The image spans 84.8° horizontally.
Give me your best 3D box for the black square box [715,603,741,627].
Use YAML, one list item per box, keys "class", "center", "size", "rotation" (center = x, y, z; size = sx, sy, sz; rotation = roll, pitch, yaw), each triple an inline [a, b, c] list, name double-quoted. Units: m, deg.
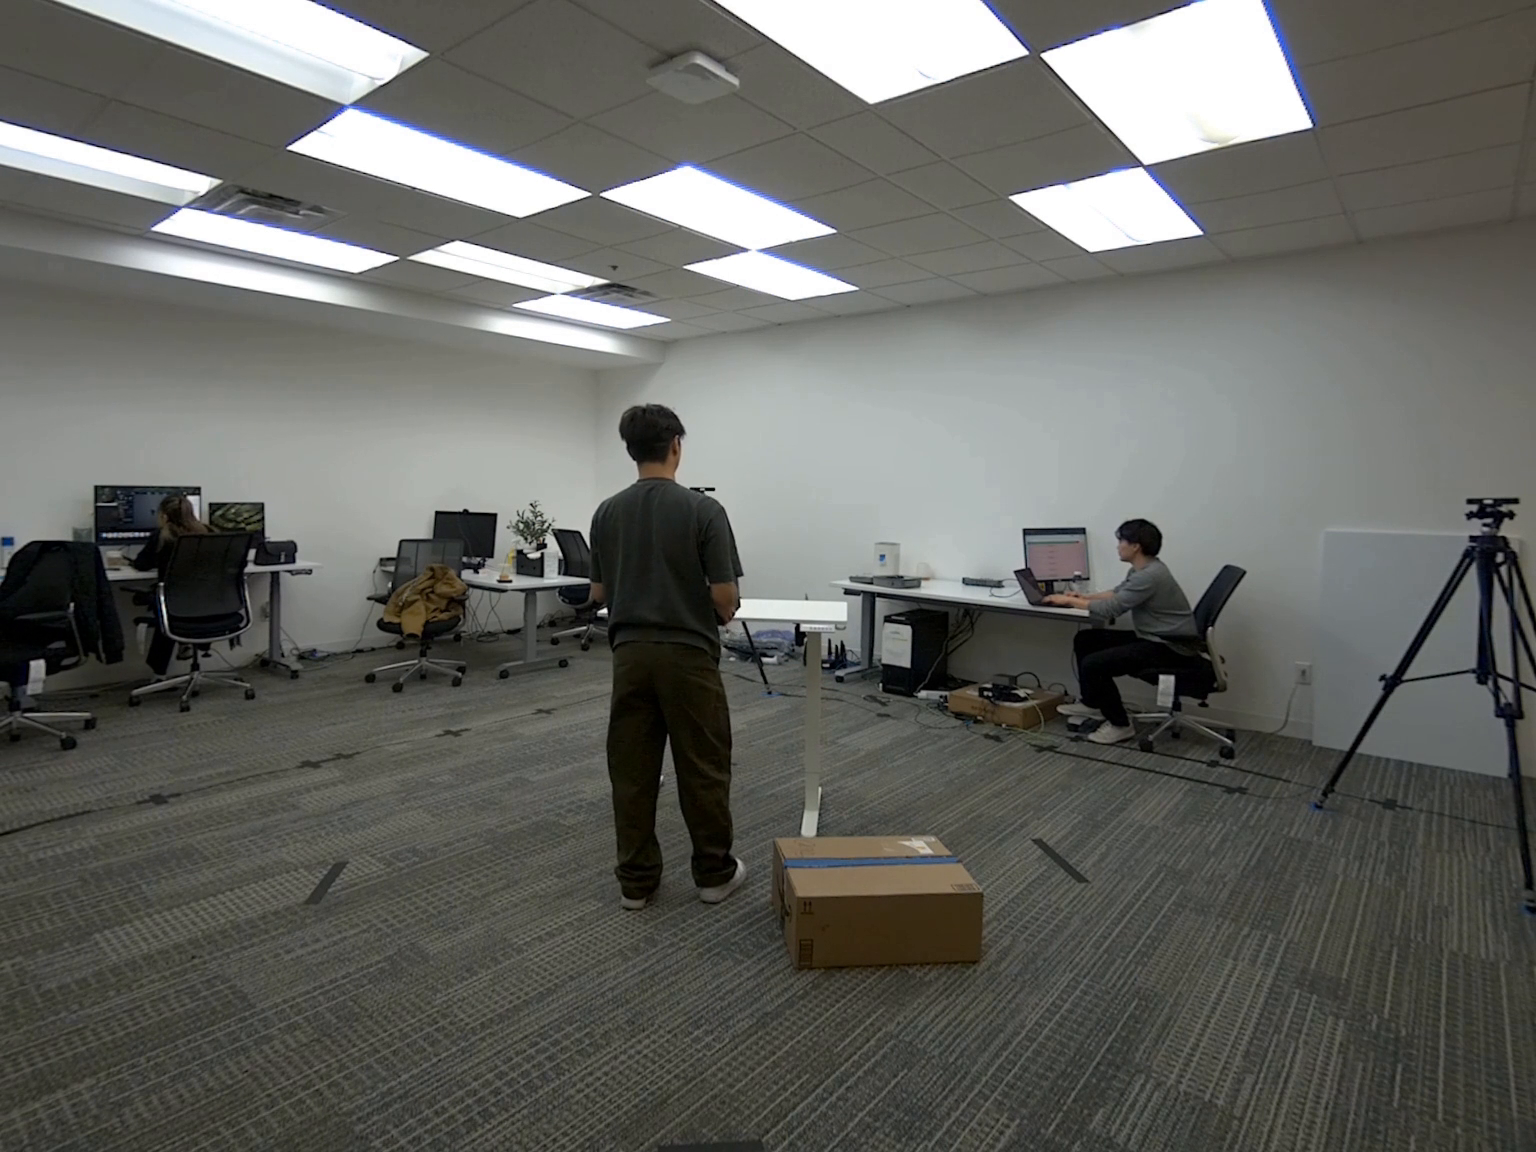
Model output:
- class: "black square box"
  center: [-0.241, 0.061, 3.173]
  size: [0.221, 0.154, 0.226]
  rotation: [0, 14, 17]
